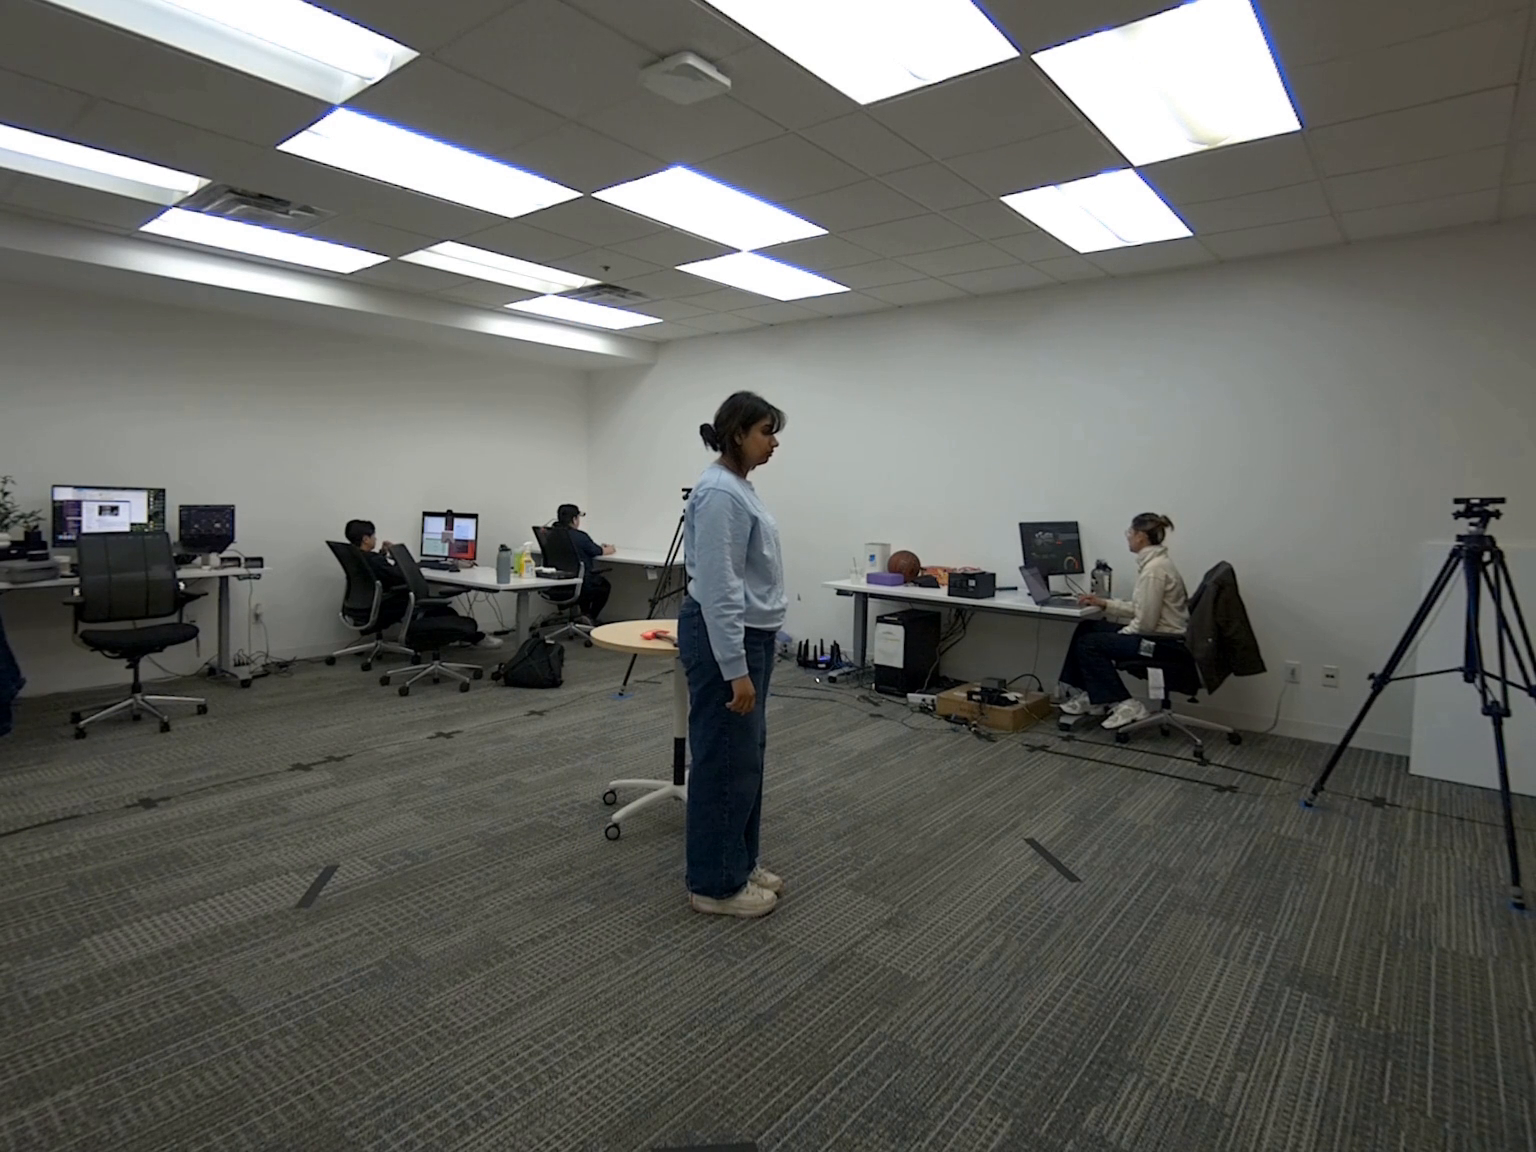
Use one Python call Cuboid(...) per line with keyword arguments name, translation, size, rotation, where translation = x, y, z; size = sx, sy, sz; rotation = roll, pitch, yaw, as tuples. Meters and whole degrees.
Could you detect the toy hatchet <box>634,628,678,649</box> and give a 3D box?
Cuboid(name="toy hatchet", translation=(-0.446, 0.245, 3.343), size=(0.129, 0.029, 0.276), rotation=(0, 6, -17))
